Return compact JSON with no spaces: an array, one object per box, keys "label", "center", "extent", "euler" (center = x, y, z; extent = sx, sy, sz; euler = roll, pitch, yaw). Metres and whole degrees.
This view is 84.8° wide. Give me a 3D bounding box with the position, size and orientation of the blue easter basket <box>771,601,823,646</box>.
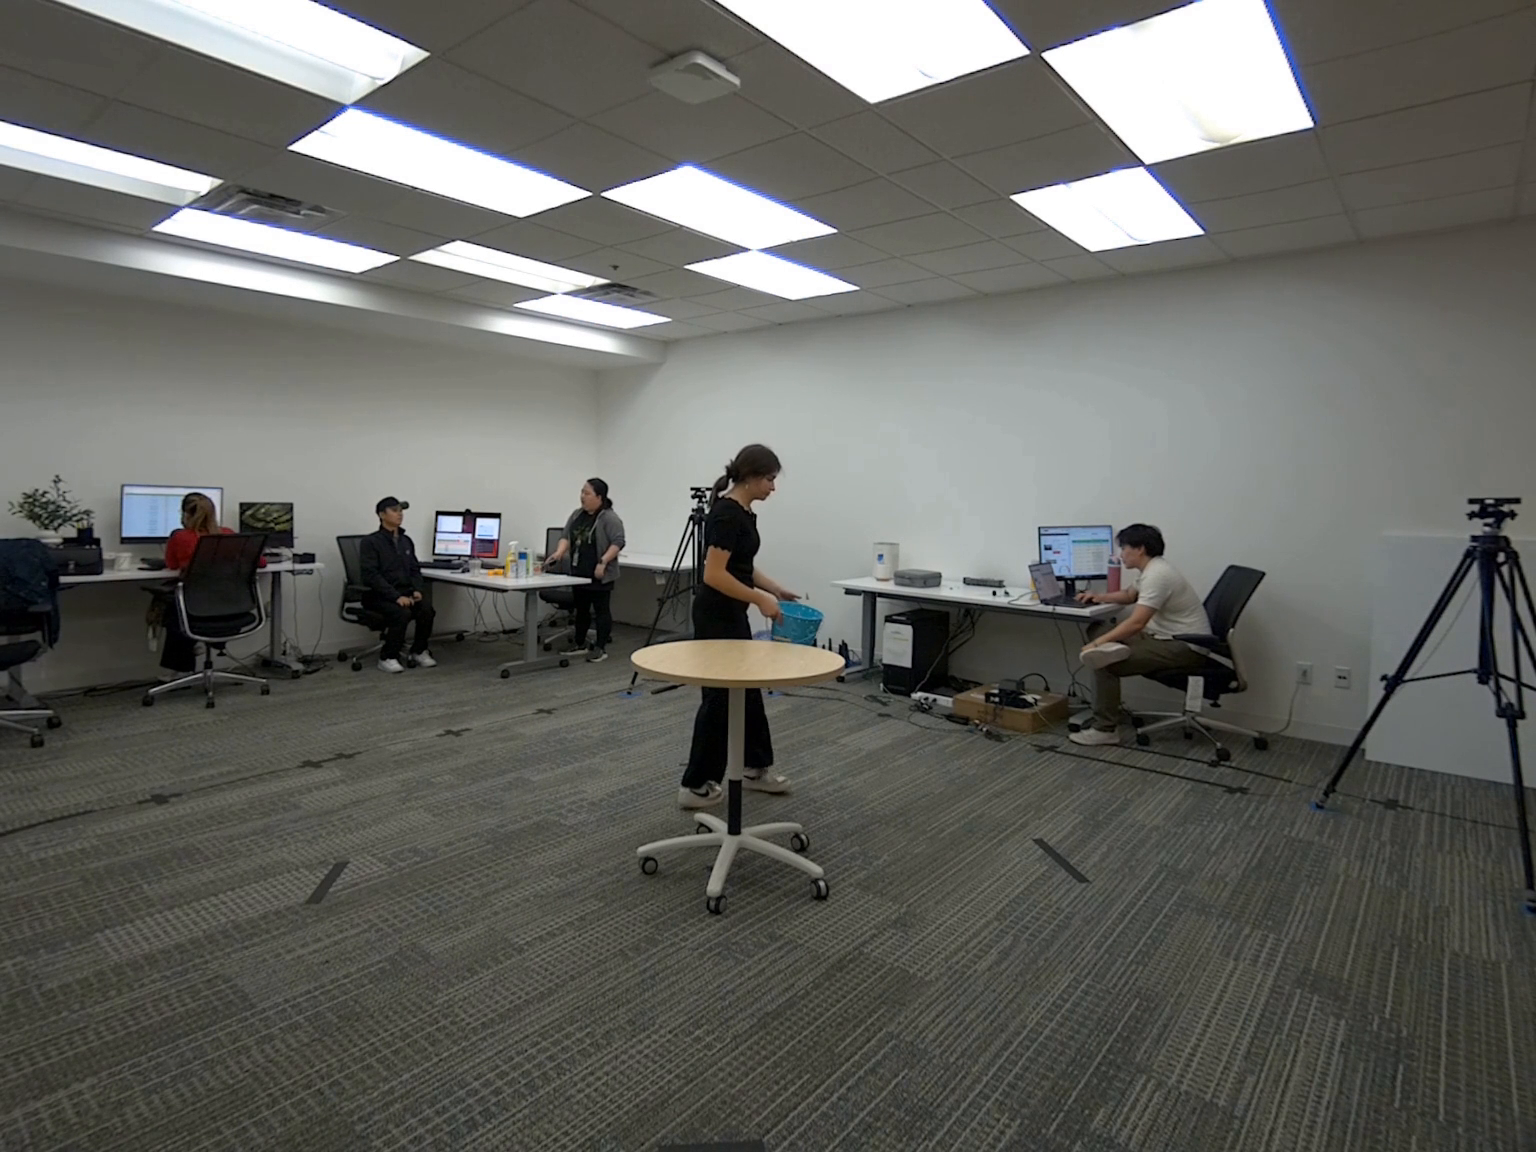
[{"label":"blue easter basket","center":[0.112,0.216,3.683],"extent":[0.243,0.155,0.246],"euler":[11,10,-4]}]
